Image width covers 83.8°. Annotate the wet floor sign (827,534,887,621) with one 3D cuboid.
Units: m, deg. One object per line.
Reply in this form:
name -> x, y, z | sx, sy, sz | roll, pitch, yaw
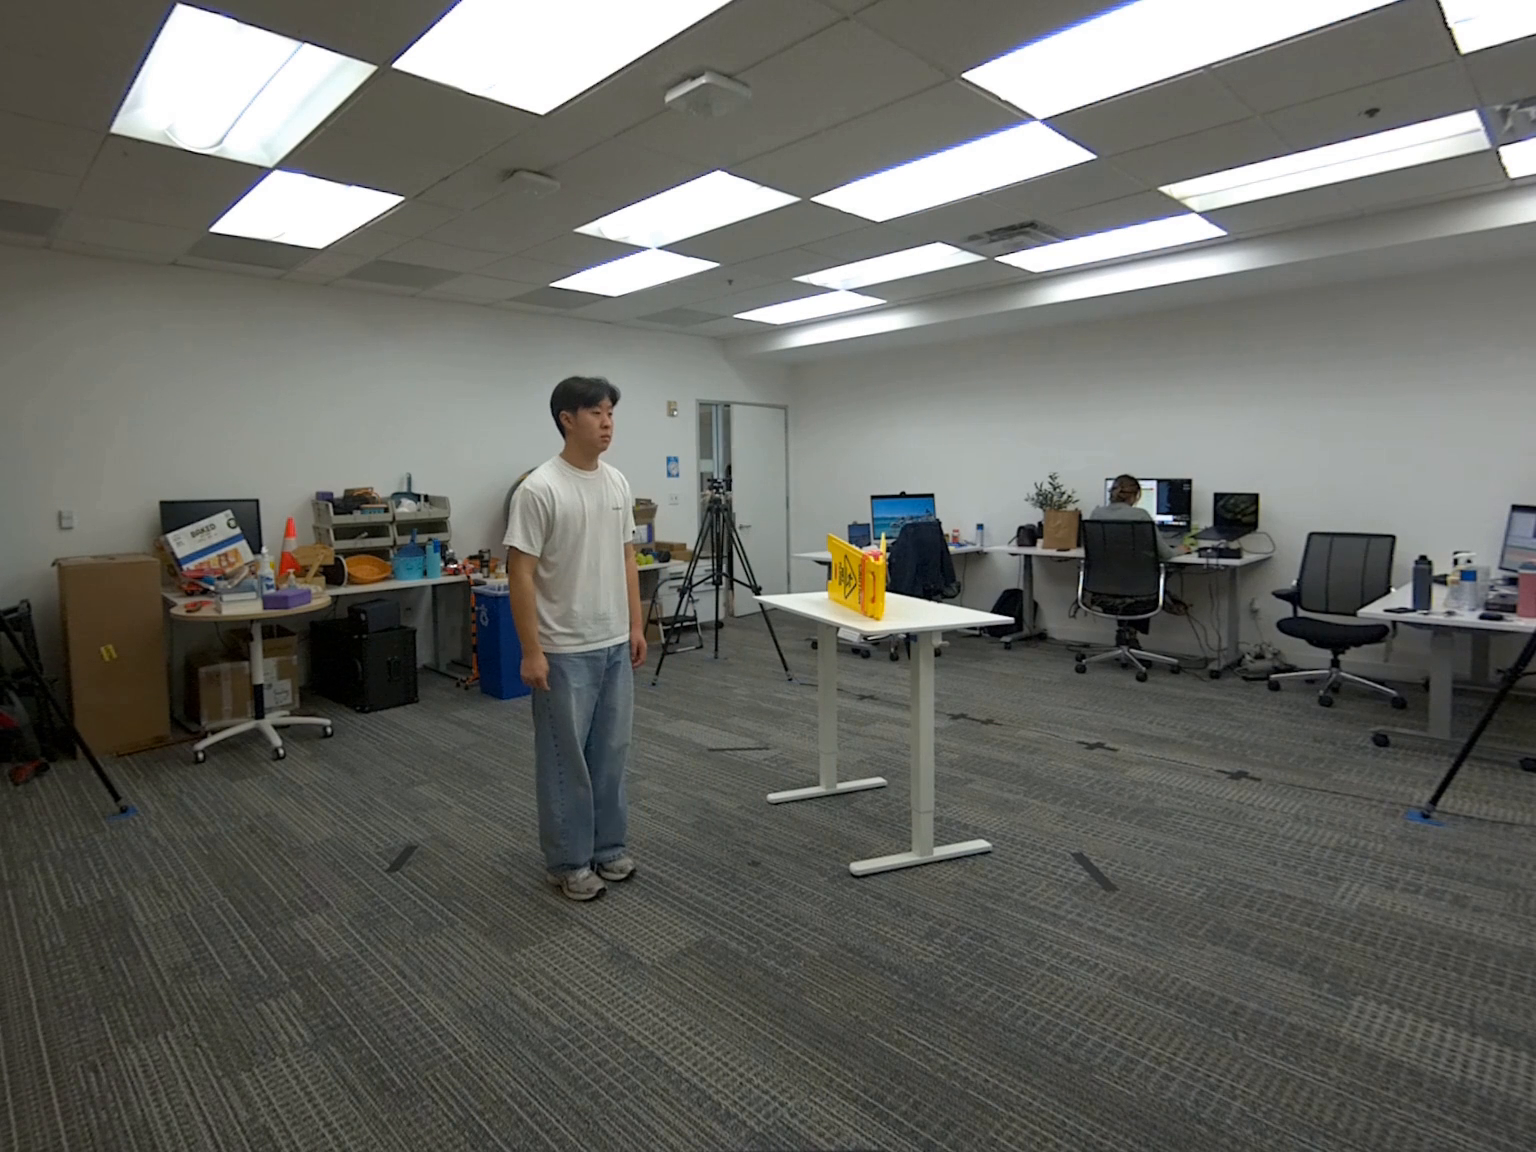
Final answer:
wet floor sign -> 0.391, 0.004, 3.330 | 0.290, 0.280, 0.650 | -2, 8, 0
